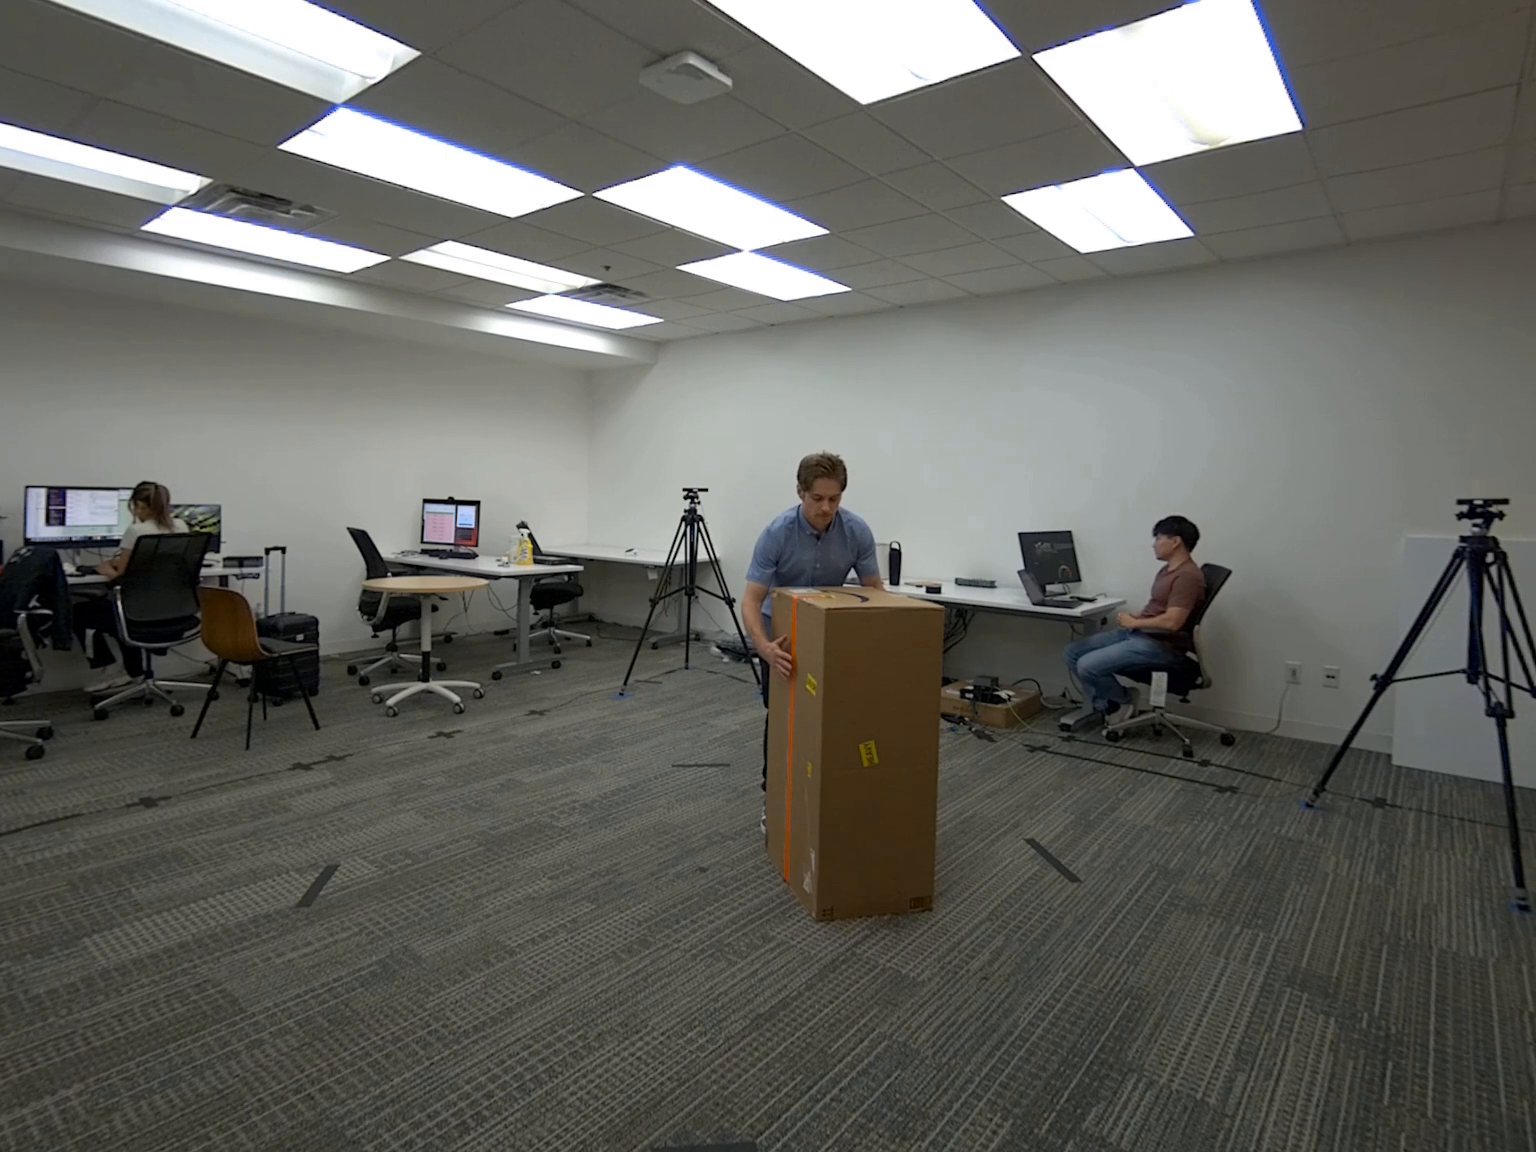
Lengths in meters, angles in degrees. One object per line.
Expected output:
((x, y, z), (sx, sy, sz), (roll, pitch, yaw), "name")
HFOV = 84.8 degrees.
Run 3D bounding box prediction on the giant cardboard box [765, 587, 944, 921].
((0.276, 0.588, 3.033), (0.440, 1.022, 0.596), (0, 5, -15), "giant cardboard box")
